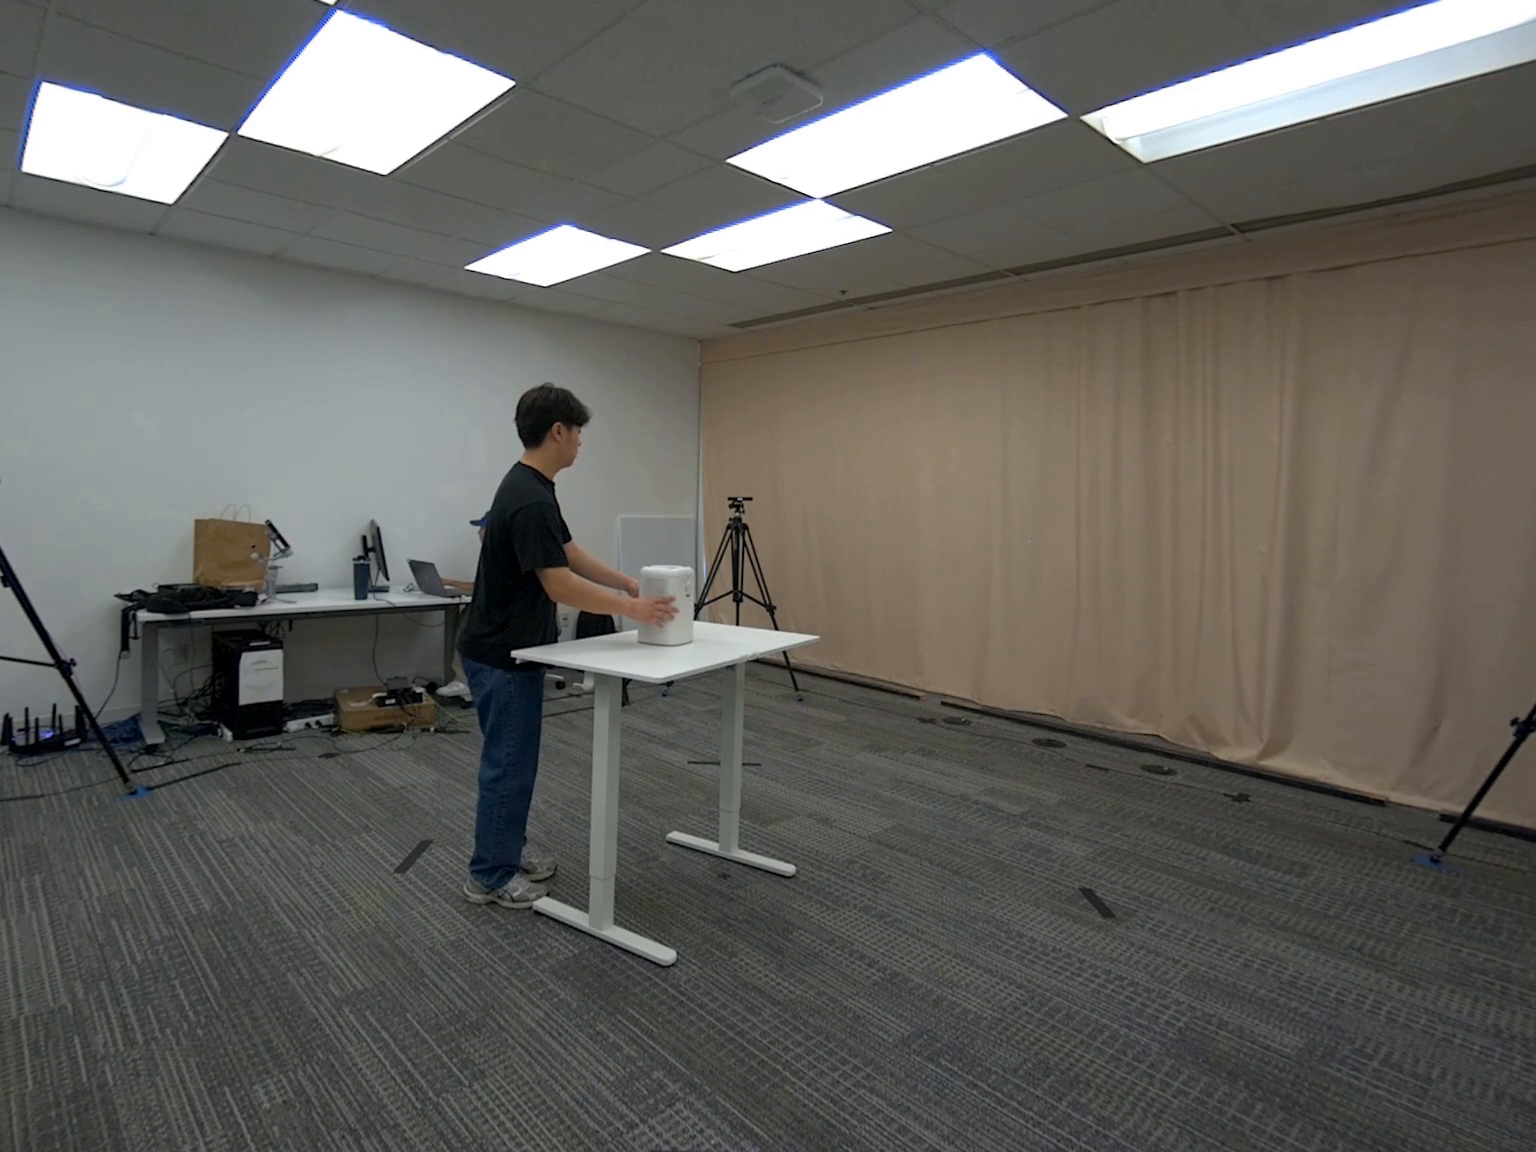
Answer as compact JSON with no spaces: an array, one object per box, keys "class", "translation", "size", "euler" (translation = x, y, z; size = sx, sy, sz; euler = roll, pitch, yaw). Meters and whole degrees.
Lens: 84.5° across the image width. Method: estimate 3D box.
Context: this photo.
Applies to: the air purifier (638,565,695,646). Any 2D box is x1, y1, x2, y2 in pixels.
[{"class":"air purifier","translation":[-0.365,0.099,2.950],"size":[0.175,0.264,0.168],"euler":[5,5,23]}]
